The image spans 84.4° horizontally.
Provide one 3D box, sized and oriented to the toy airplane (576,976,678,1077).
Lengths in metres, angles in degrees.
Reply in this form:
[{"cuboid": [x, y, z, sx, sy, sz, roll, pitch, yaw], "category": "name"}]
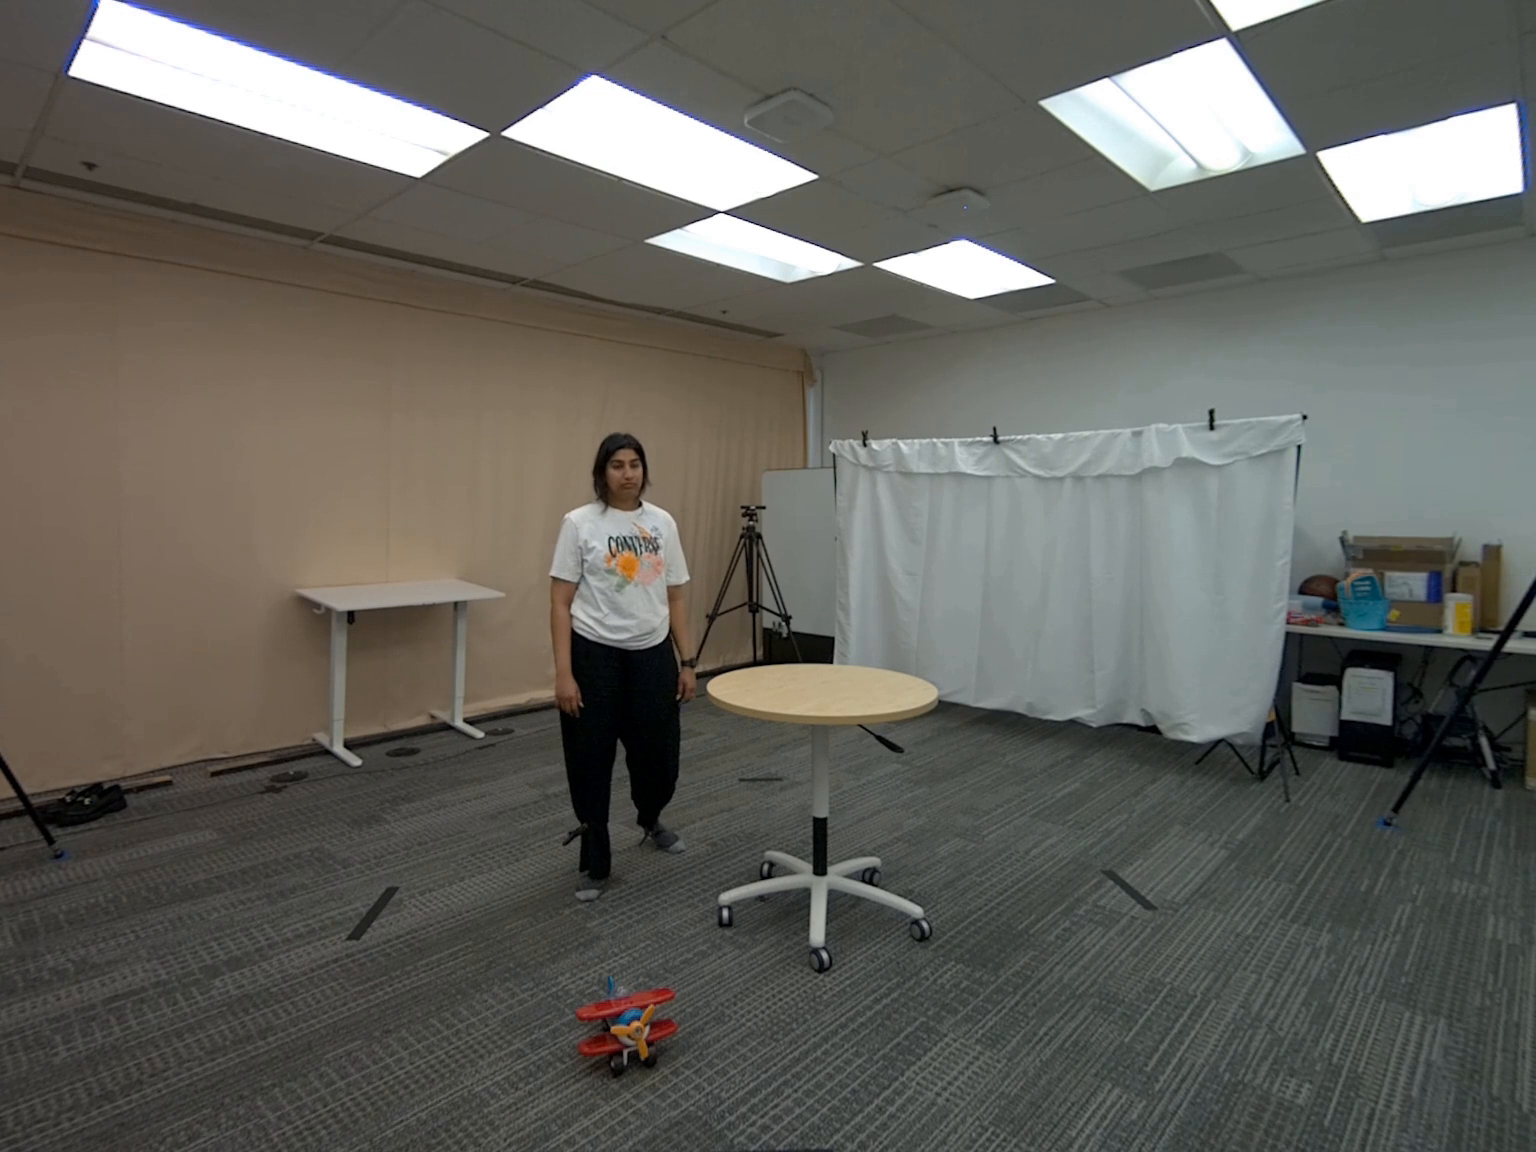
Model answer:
[{"cuboid": [-0.384, 1.145, 2.138, 0.268, 0.156, 0.244, 4, 6, 38], "category": "toy airplane"}]
